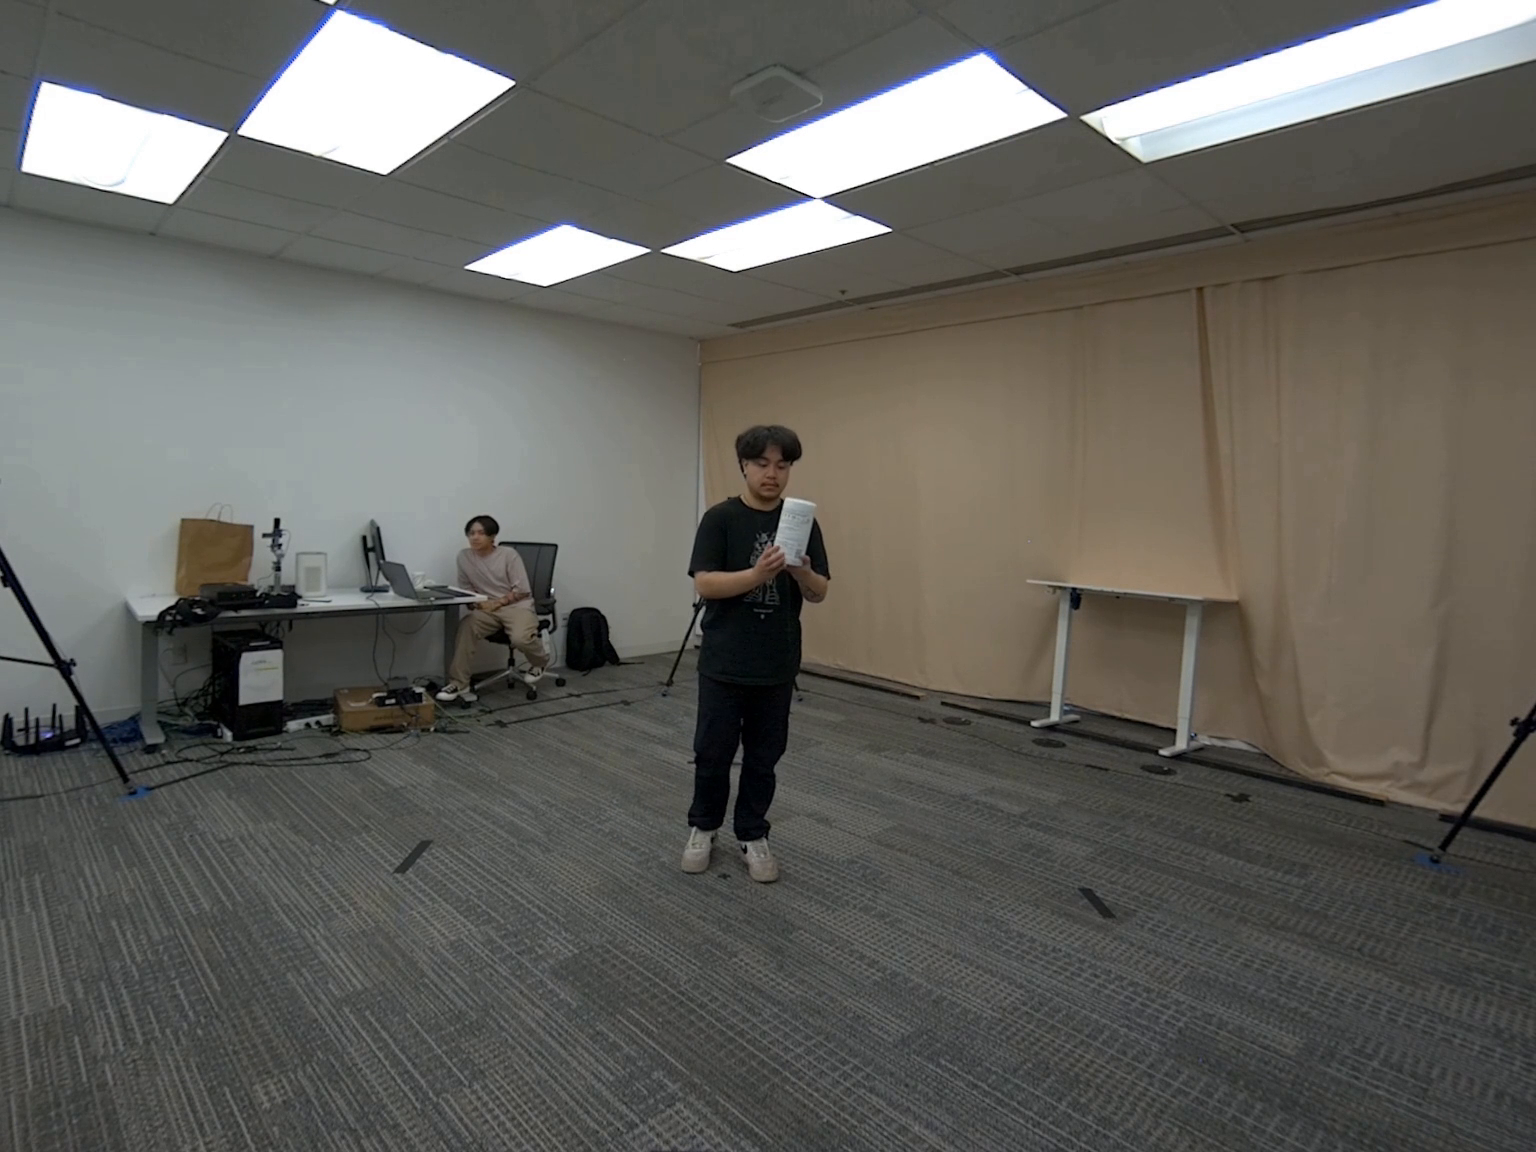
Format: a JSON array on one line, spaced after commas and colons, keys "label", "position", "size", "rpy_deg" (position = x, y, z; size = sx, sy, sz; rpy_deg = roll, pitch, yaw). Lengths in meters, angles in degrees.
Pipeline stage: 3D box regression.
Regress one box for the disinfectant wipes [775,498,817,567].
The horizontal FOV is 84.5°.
[{"label": "disinfectant wipes", "position": [0.074, -0.146, 2.812], "size": [0.117, 0.216, 0.118], "rpy_deg": [11, 7, -3]}]
